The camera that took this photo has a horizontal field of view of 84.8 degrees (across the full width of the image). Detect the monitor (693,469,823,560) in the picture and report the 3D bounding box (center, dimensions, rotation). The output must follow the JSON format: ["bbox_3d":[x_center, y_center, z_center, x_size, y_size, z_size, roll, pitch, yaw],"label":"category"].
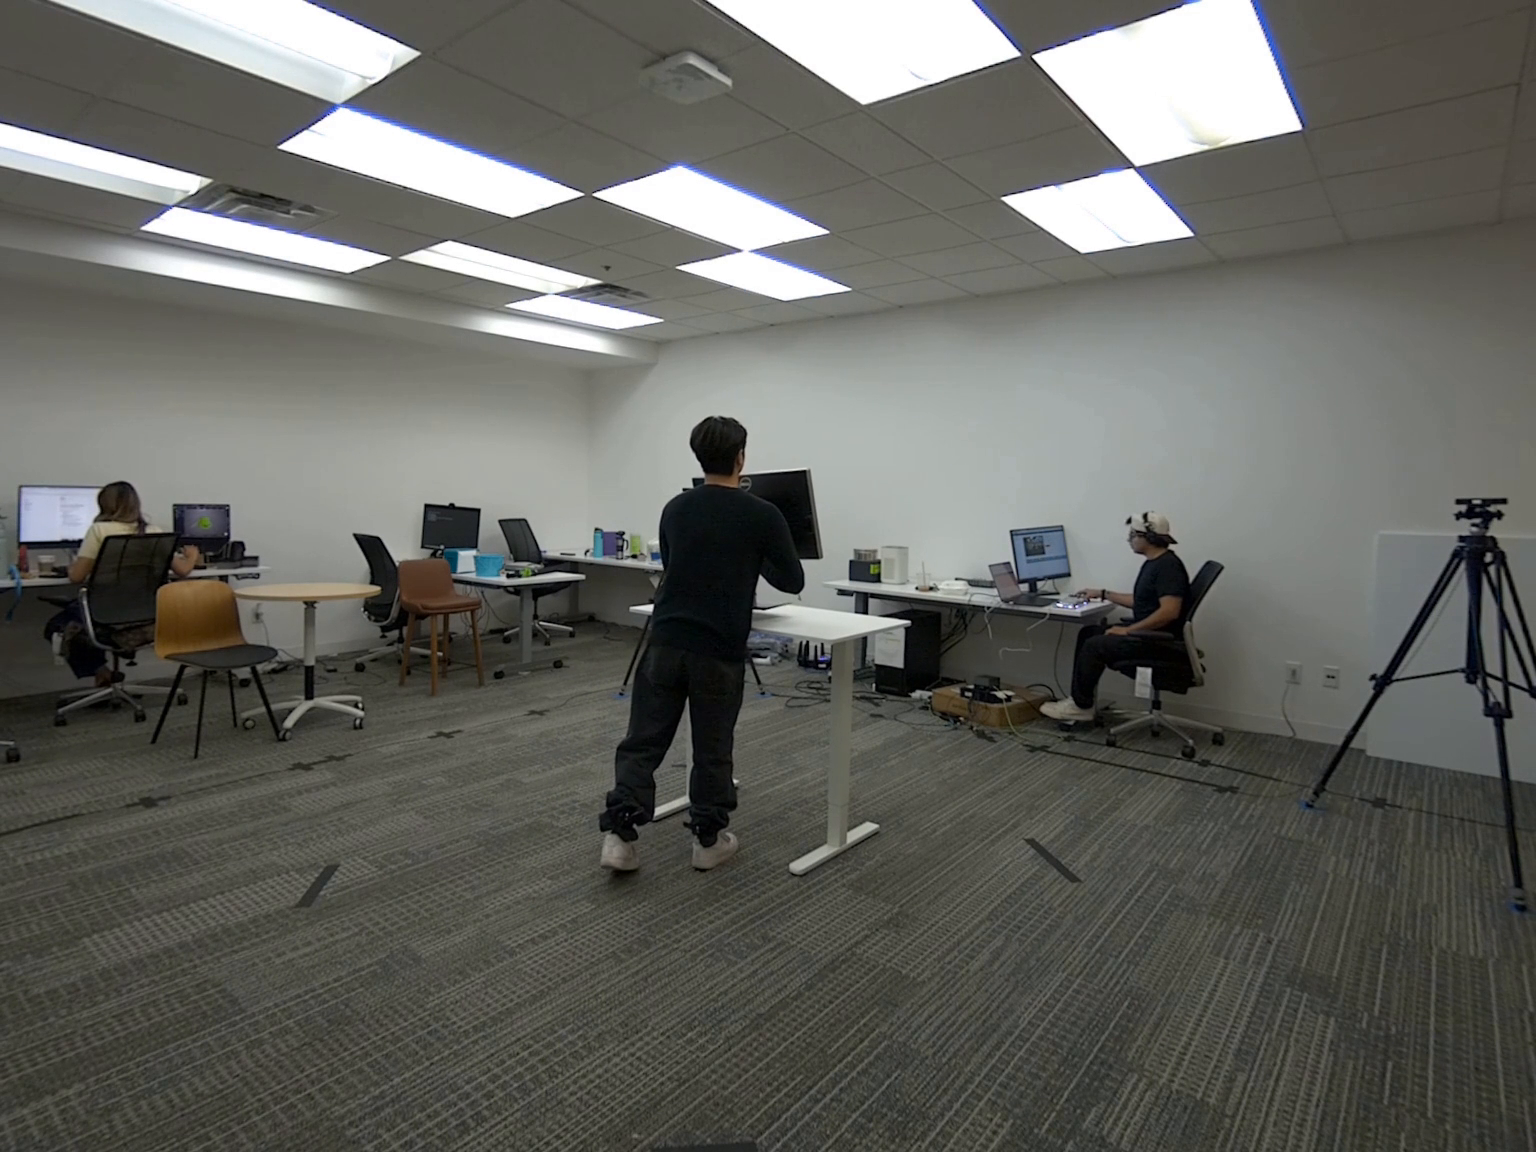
[{"bbox_3d":[-0.076,-0.151,3.435,0.545,0.518,0.169,-3,-5,35],"label":"monitor"}]
